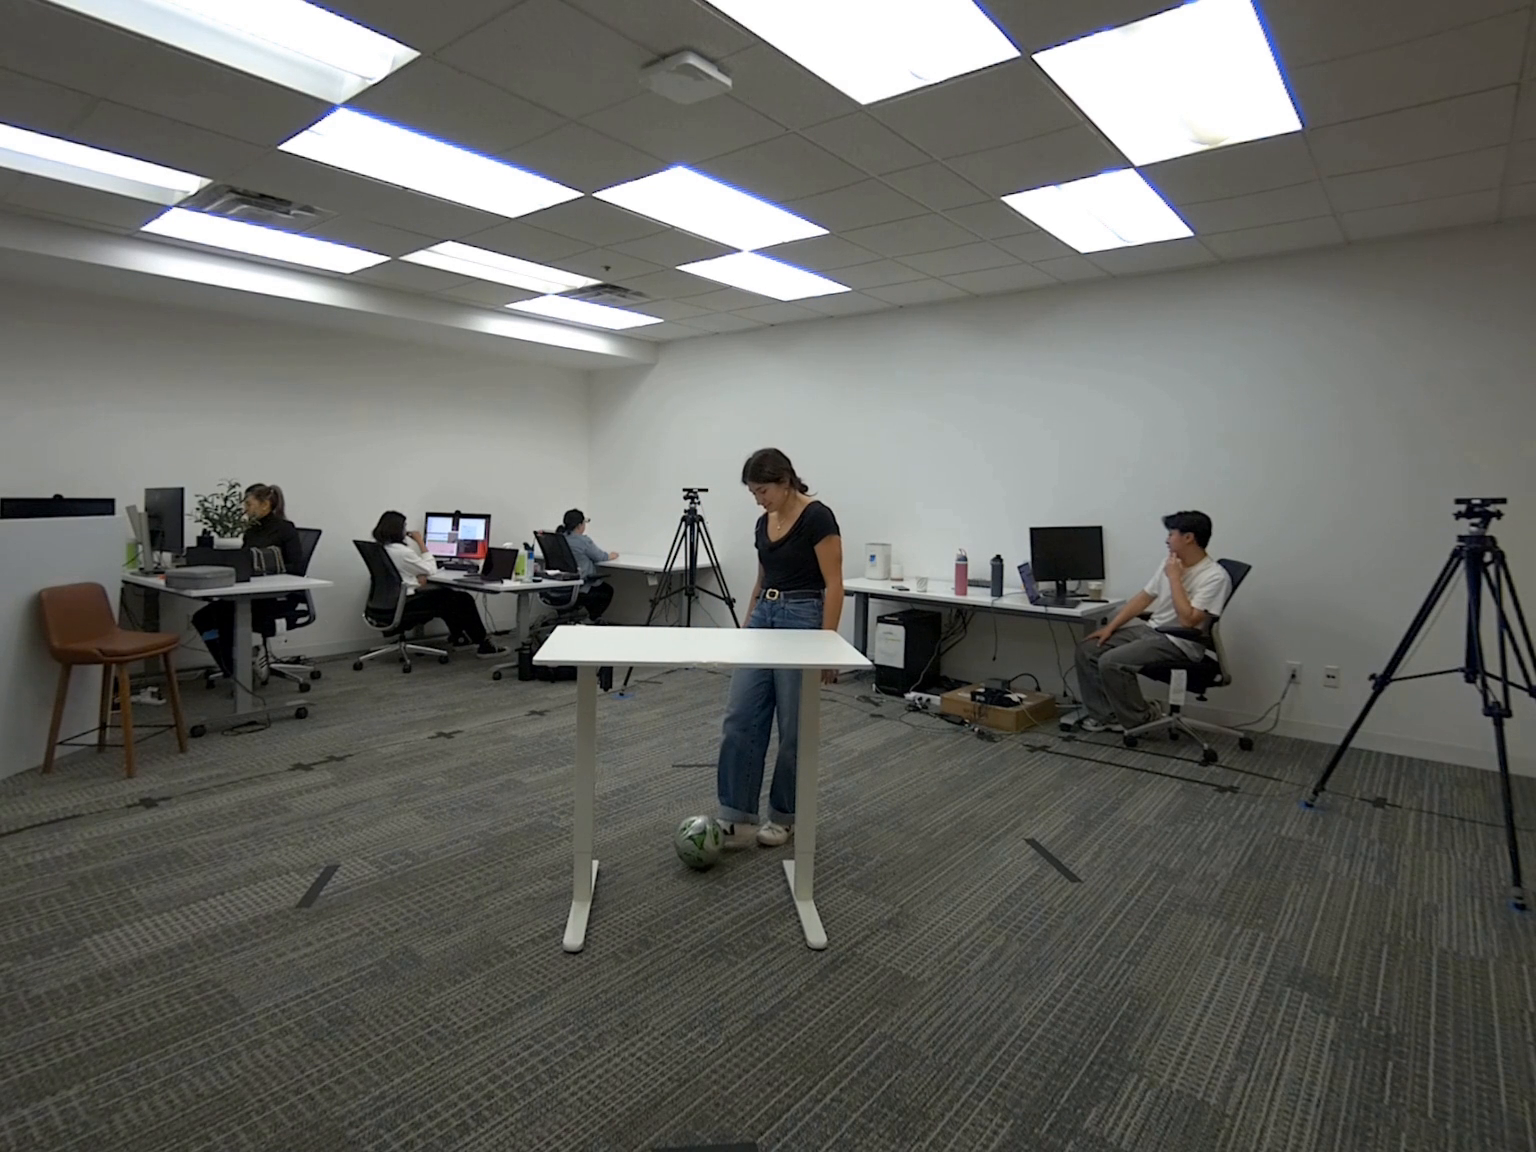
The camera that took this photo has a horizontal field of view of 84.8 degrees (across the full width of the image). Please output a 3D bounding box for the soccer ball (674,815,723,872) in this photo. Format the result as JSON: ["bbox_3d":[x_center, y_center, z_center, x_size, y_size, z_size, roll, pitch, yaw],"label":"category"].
[{"bbox_3d":[-0.251,0.971,3.119,0.187,0.187,0.188,1,4,-2],"label":"soccer ball"}]
